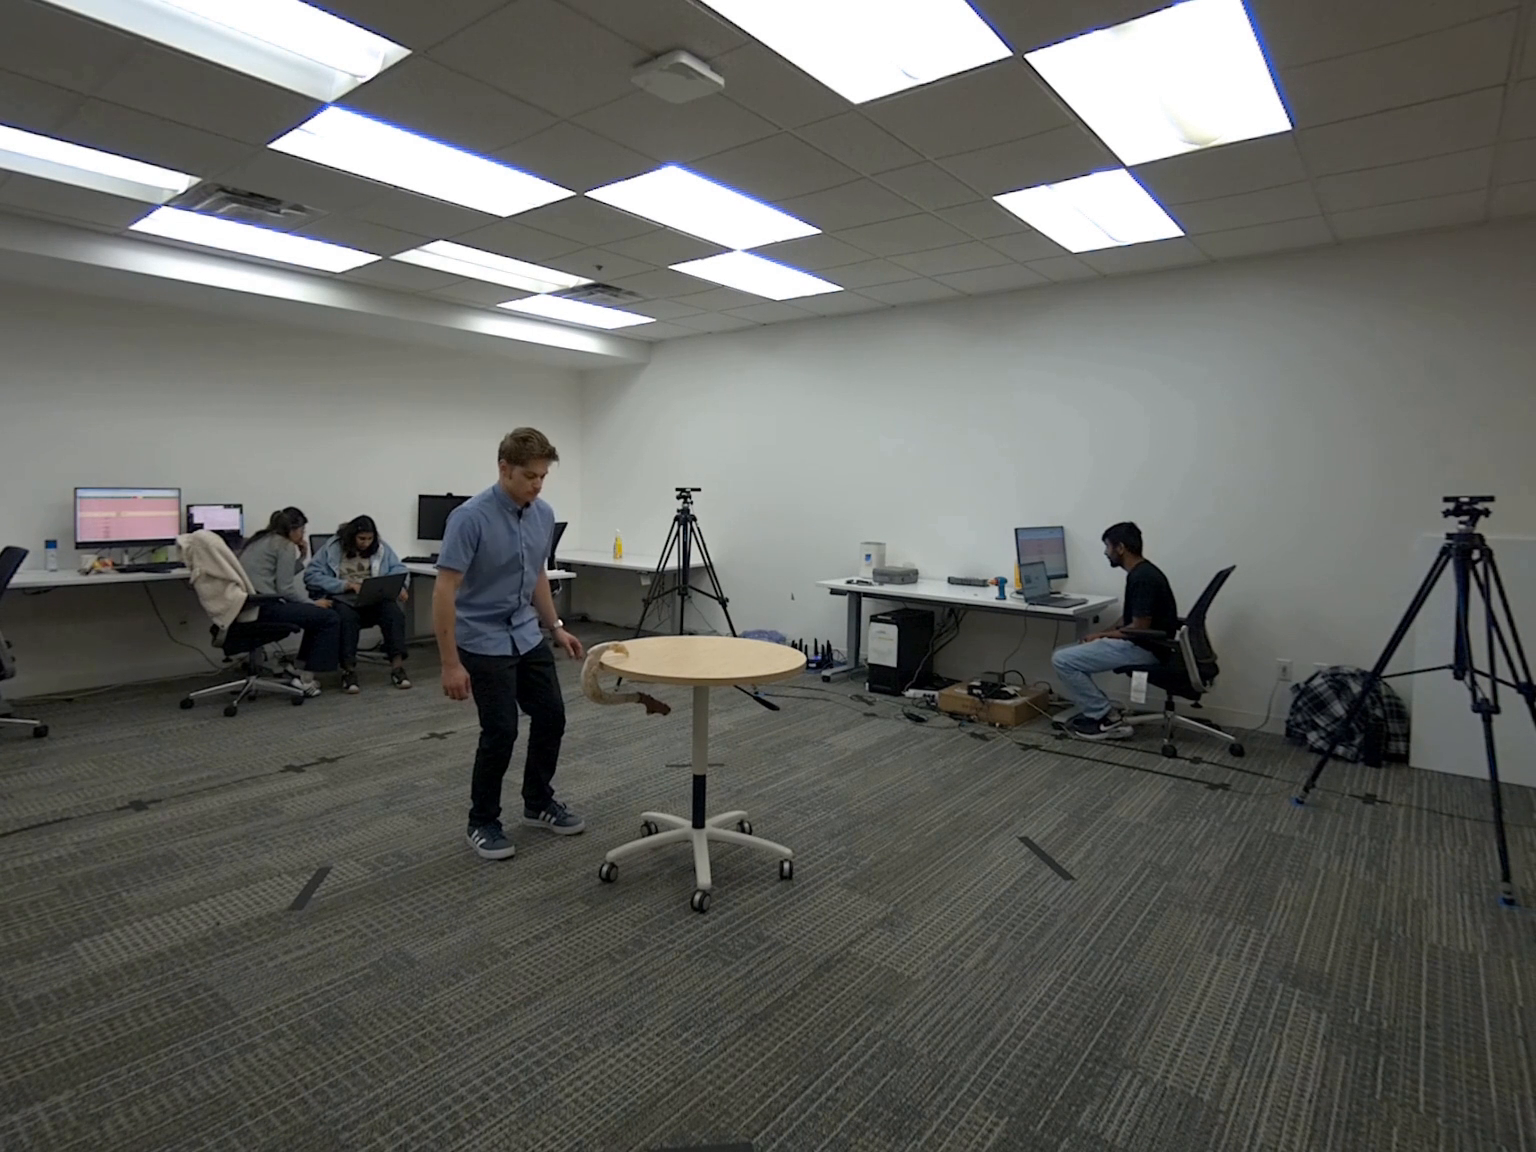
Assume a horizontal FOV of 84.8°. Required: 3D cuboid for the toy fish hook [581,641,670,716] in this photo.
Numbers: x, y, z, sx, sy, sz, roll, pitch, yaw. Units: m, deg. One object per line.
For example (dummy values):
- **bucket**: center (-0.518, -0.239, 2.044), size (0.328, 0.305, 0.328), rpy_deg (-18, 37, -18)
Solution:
- **toy fish hook**: center (-0.508, 0.381, 3.087), size (0.050, 0.226, 0.486), rpy_deg (10, -13, 38)
